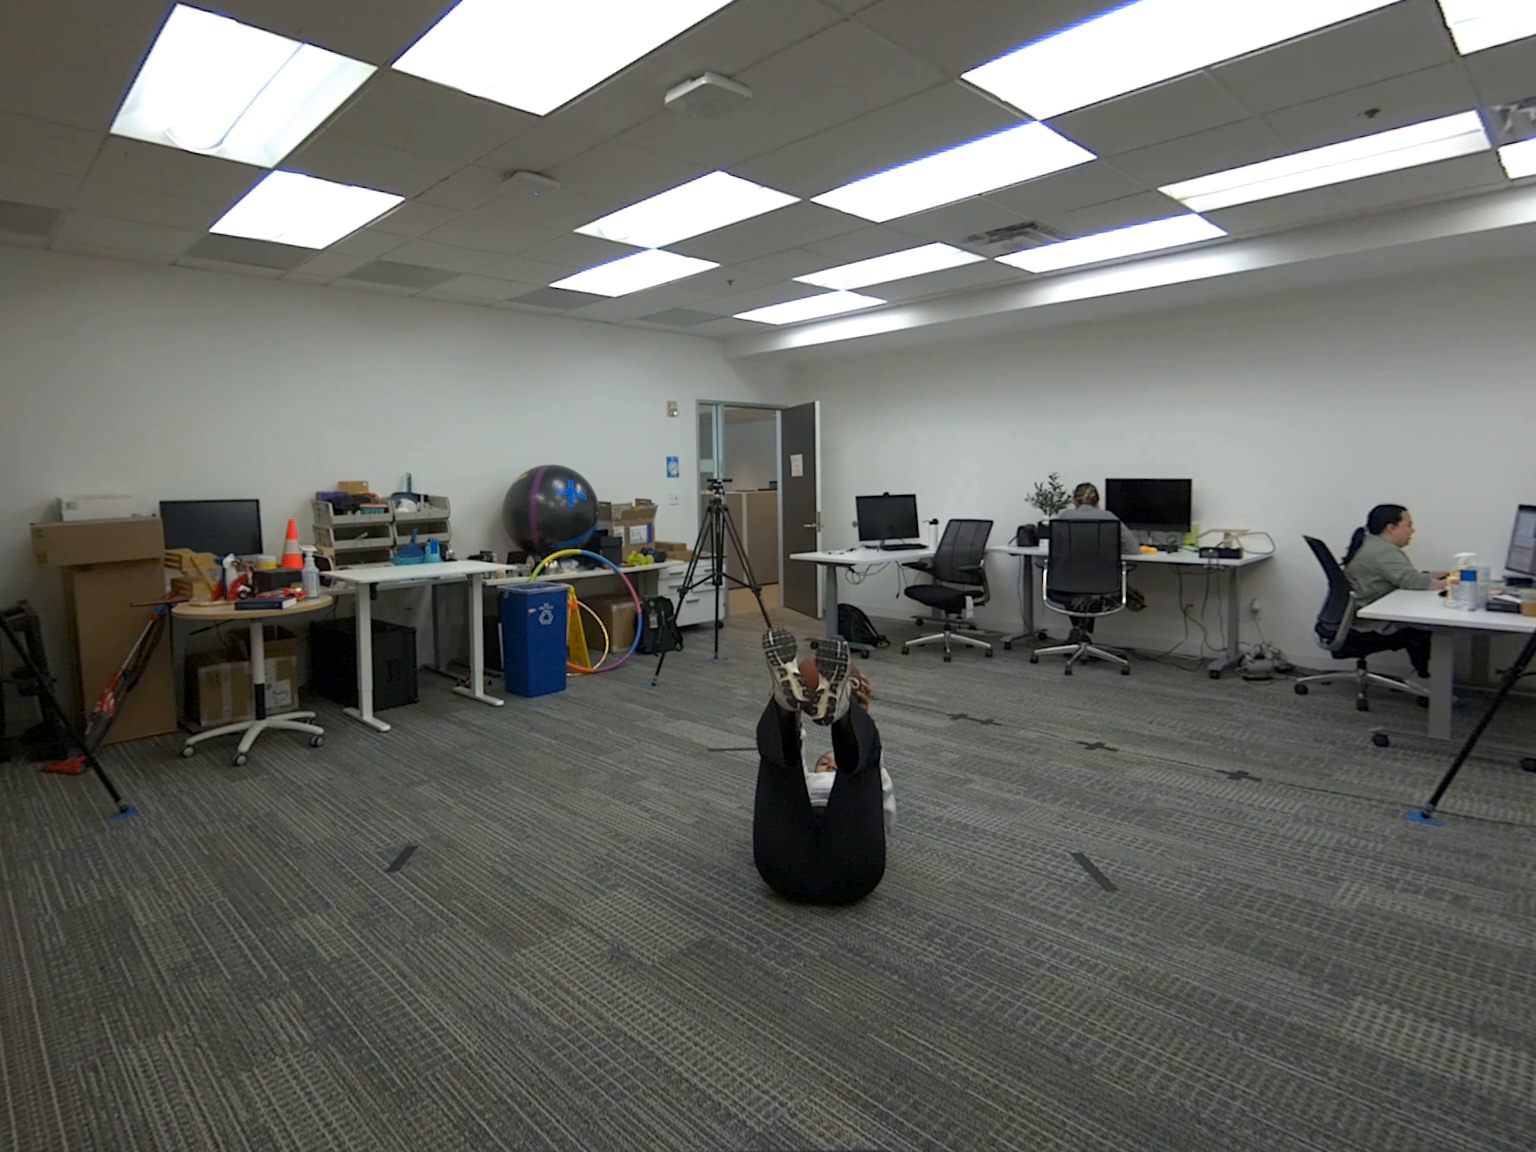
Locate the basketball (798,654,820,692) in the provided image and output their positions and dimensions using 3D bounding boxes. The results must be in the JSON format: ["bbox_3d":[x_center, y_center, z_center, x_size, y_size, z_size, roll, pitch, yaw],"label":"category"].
[{"bbox_3d":[0.211,0.370,2.960,0.236,0.235,0.237,-1,4,-2],"label":"basketball"}]
